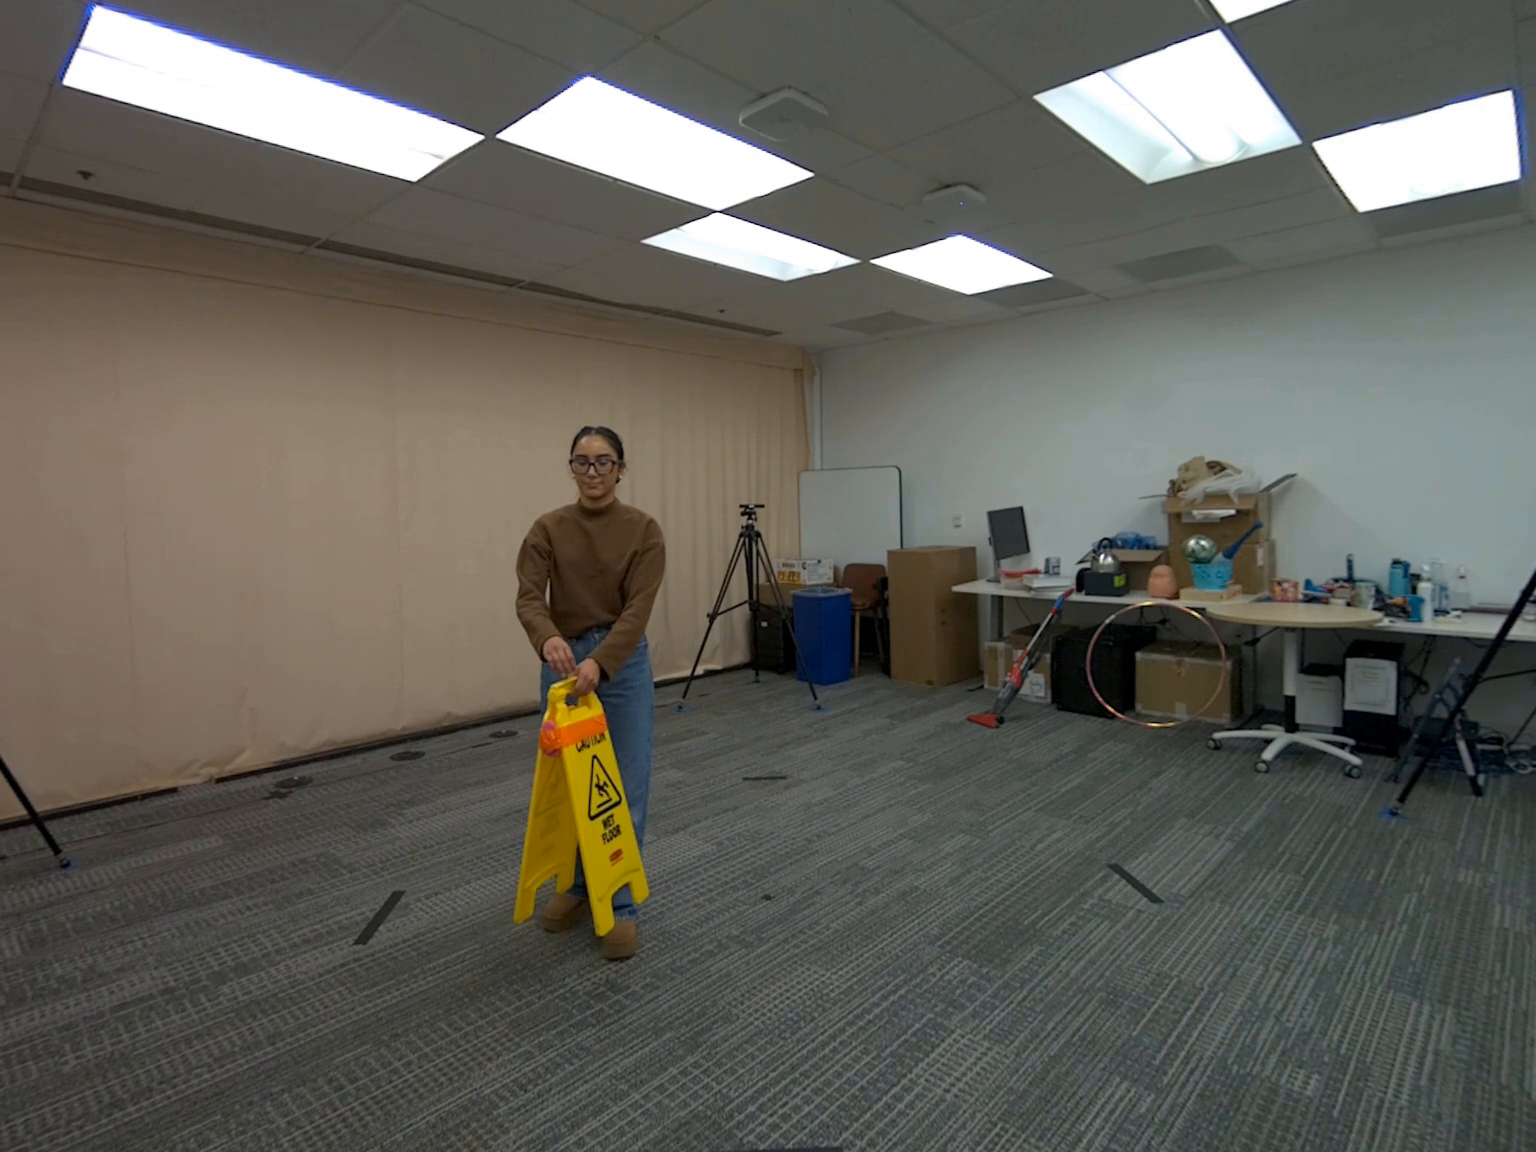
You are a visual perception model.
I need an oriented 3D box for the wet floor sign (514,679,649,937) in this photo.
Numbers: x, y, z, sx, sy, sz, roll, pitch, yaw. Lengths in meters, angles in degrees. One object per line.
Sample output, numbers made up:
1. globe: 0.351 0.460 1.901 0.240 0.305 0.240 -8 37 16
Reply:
1. wet floor sign: -0.530 0.611 2.354 0.296 0.645 0.276 -2 1 21
